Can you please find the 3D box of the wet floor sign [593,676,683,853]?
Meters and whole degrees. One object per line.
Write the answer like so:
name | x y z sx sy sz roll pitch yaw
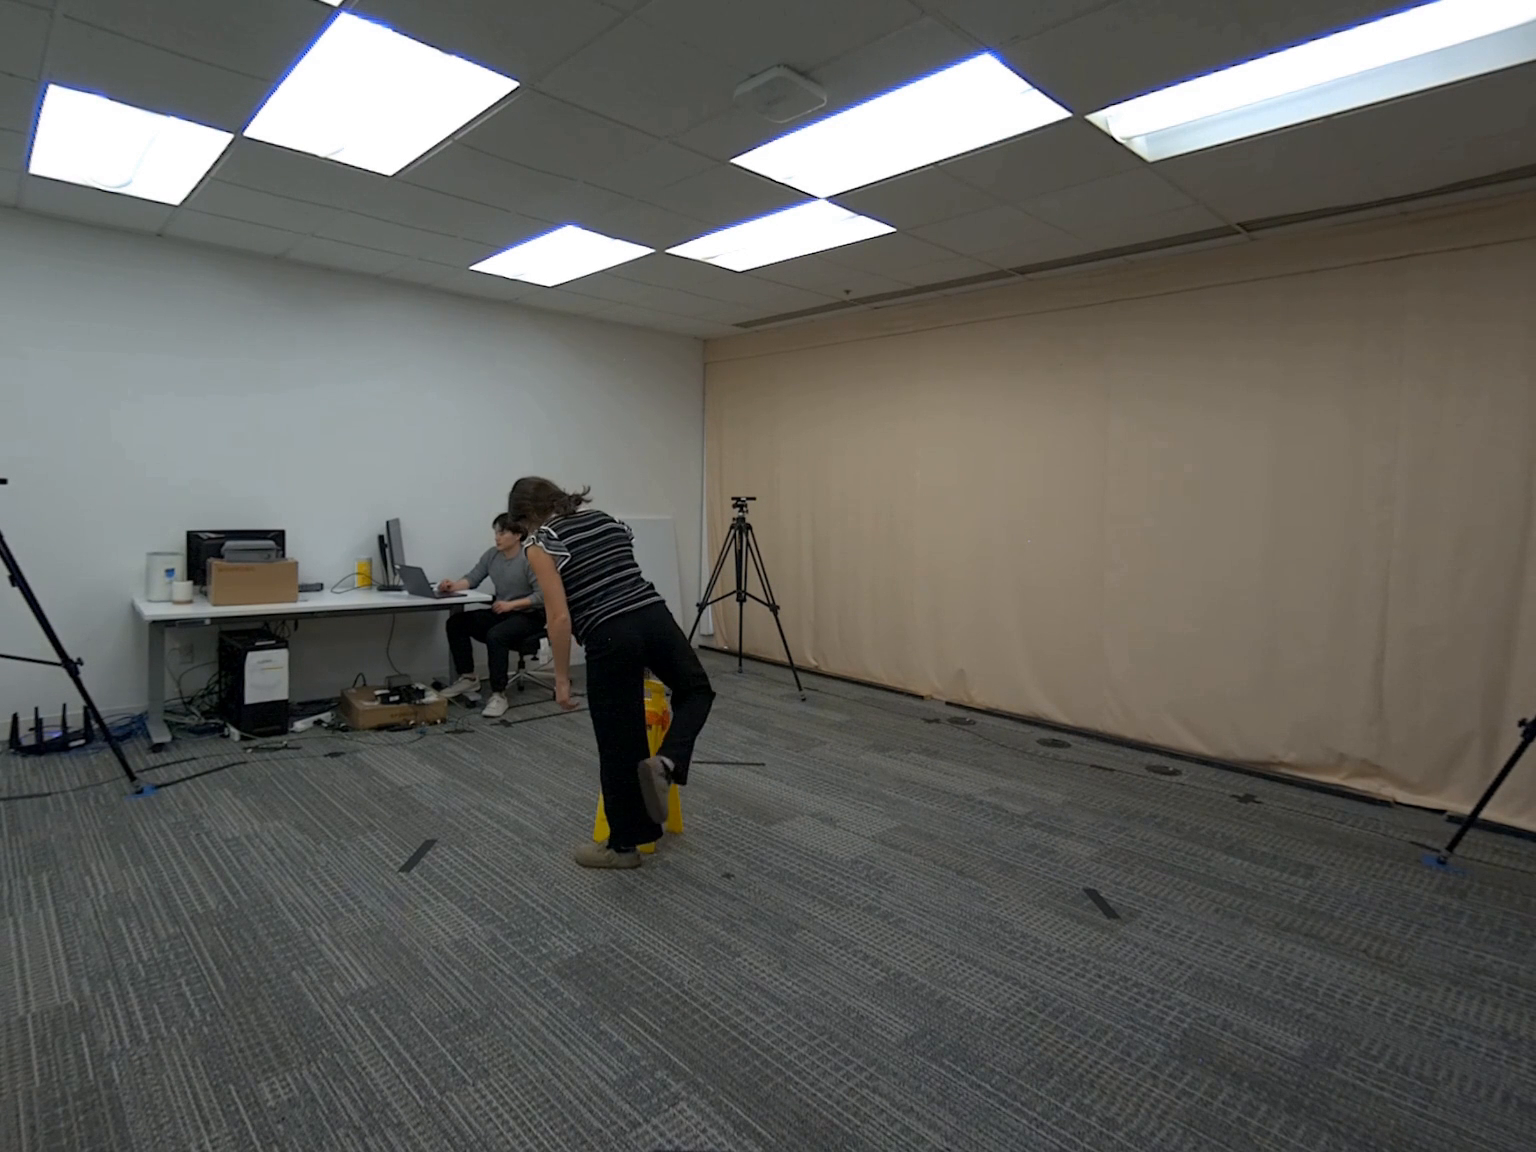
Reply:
wet floor sign | -0.531 0.749 3.439 0.288 0.645 0.285 3 2 24
